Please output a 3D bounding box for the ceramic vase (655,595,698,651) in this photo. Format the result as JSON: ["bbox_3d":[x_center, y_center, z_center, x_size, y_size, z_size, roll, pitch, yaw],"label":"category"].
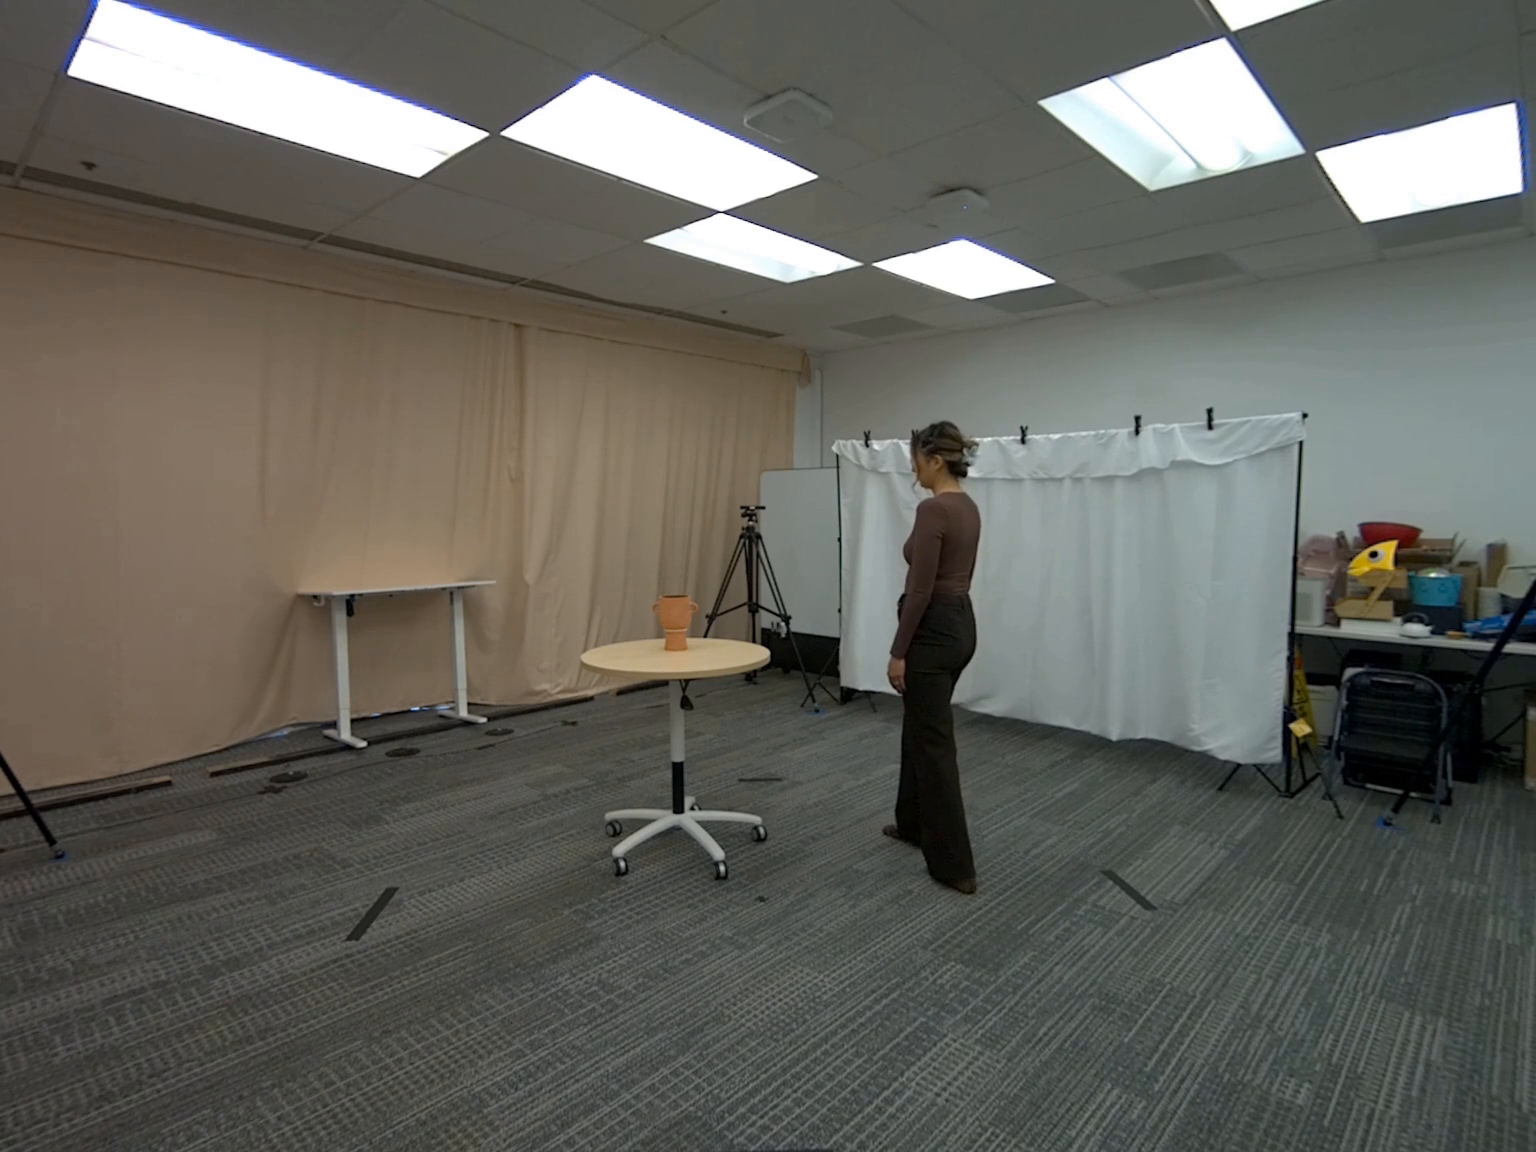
[{"bbox_3d":[-0.386,0.198,3.521,0.130,0.219,0.164,-2,4,-40],"label":"ceramic vase"}]
